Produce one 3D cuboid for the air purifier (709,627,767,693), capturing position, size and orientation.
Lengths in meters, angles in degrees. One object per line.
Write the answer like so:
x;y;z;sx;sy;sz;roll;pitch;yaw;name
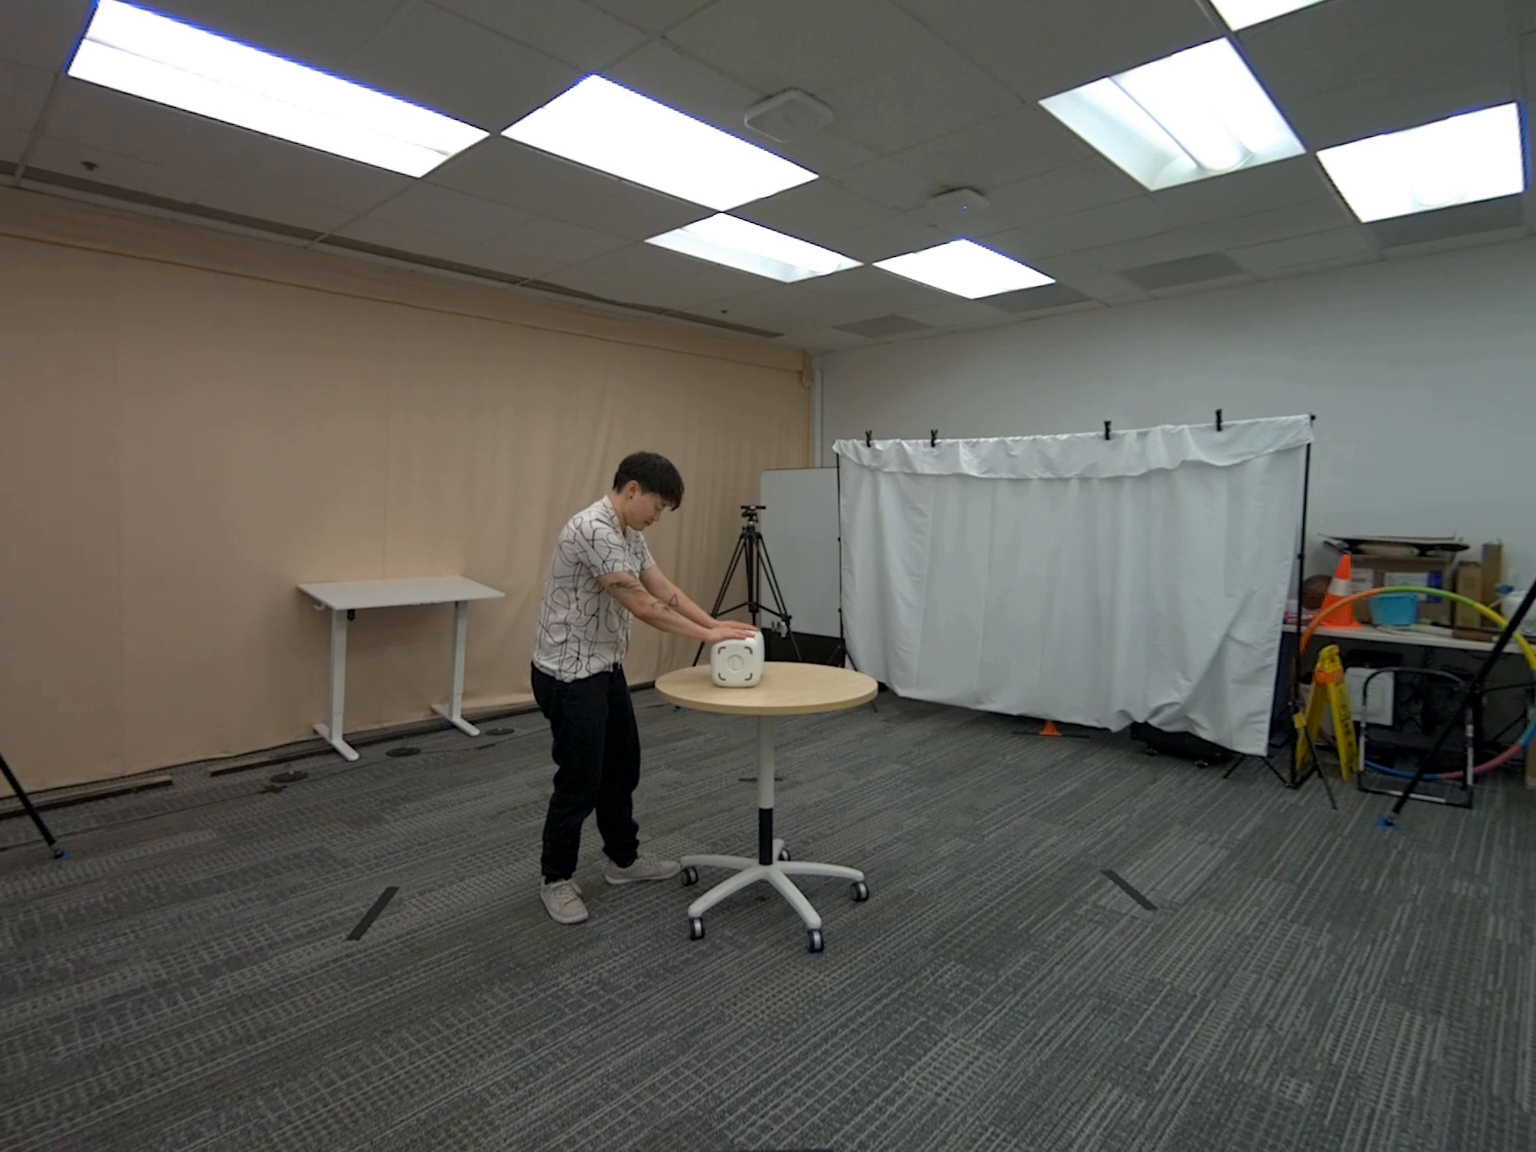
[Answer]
-0.100;0.284;2.912;0.172;0.171;0.265;-1;5;3;air purifier
